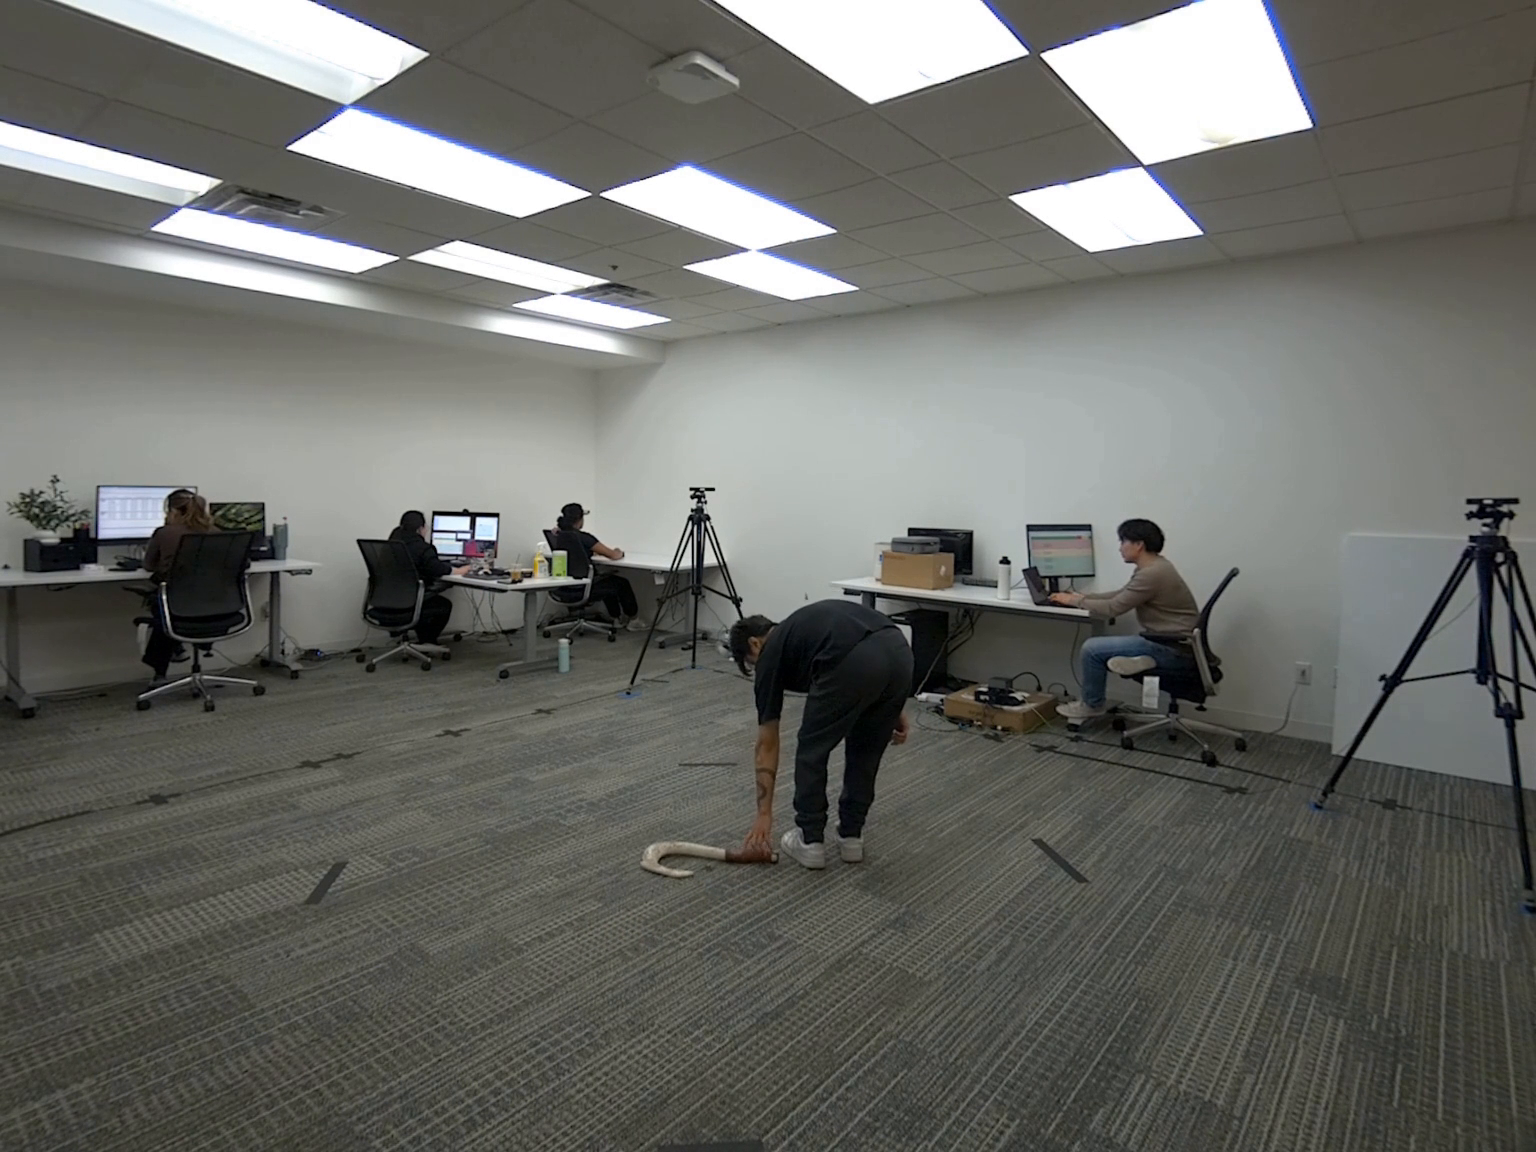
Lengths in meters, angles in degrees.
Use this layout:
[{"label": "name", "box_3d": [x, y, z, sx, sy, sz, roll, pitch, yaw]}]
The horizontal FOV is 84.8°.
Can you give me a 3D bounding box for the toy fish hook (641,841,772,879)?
[{"label": "toy fish hook", "box_3d": [-0.219, 1.046, 3.140, 0.508, 0.048, 0.227, -1, 14, 2]}]
